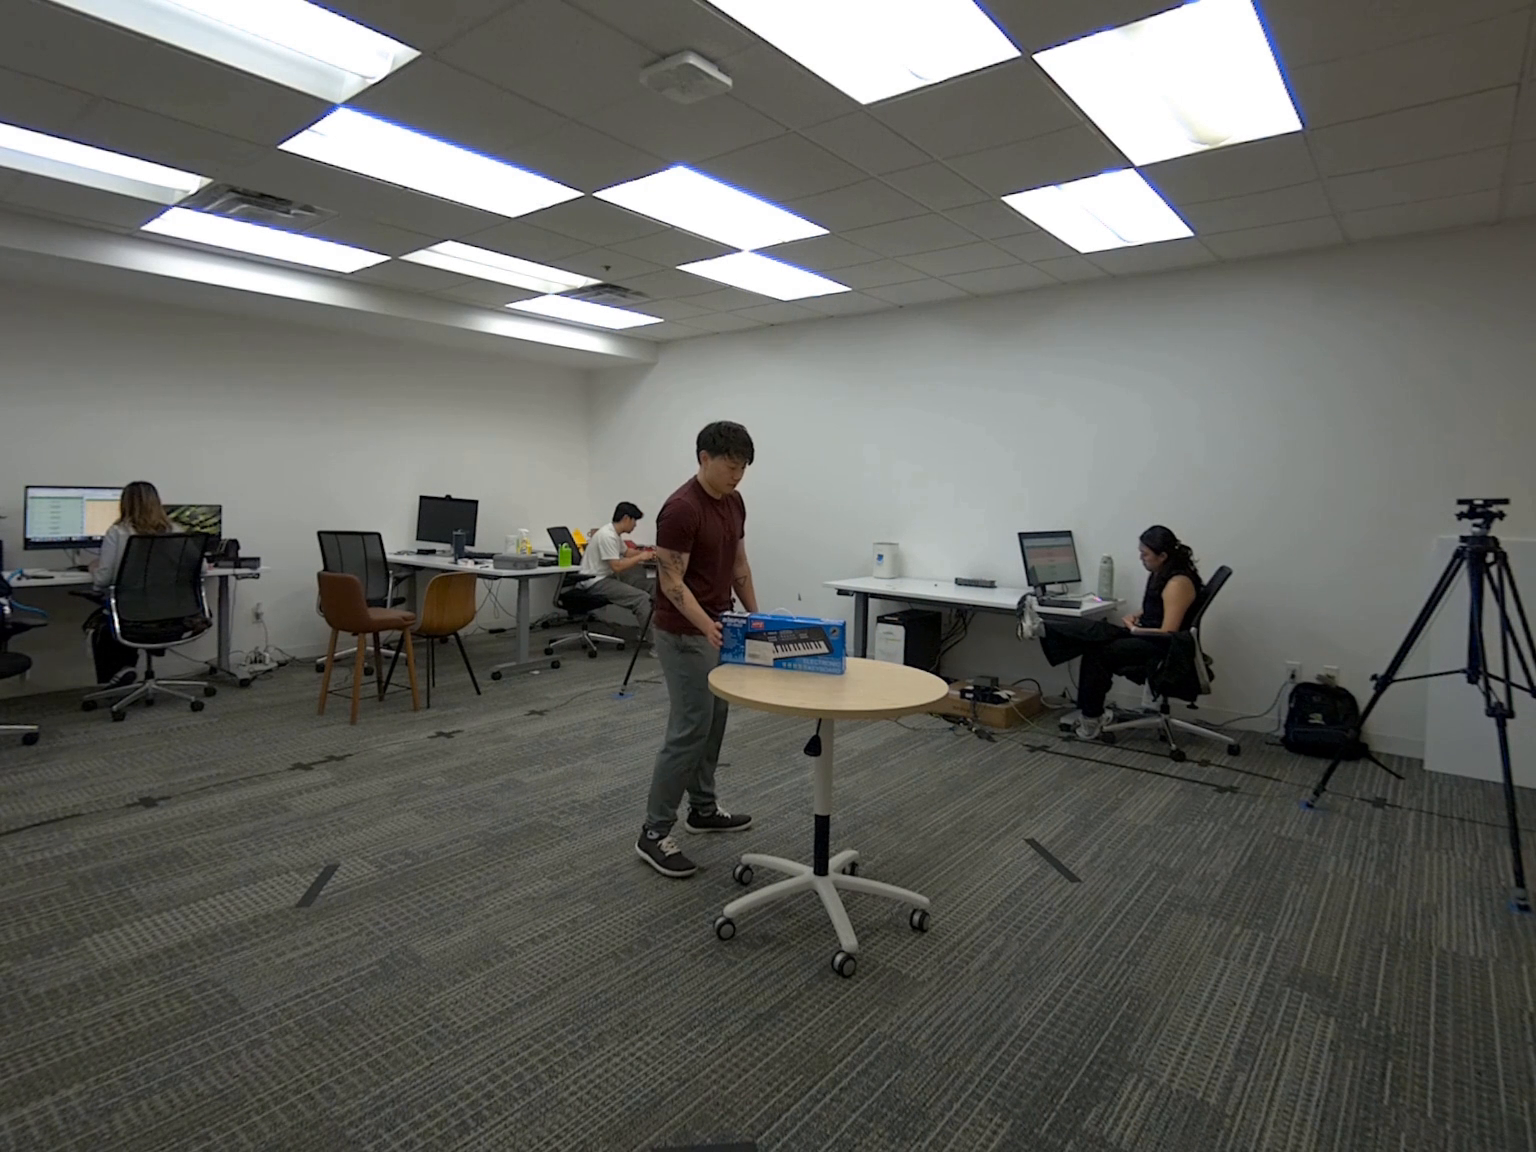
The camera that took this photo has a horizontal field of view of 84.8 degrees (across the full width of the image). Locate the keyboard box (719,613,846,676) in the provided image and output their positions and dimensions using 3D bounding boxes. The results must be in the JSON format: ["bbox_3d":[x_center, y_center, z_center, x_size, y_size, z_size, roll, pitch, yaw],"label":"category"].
[{"bbox_3d":[0.041,0.226,2.905,0.446,0.174,0.058,3,10,20],"label":"keyboard box"}]
